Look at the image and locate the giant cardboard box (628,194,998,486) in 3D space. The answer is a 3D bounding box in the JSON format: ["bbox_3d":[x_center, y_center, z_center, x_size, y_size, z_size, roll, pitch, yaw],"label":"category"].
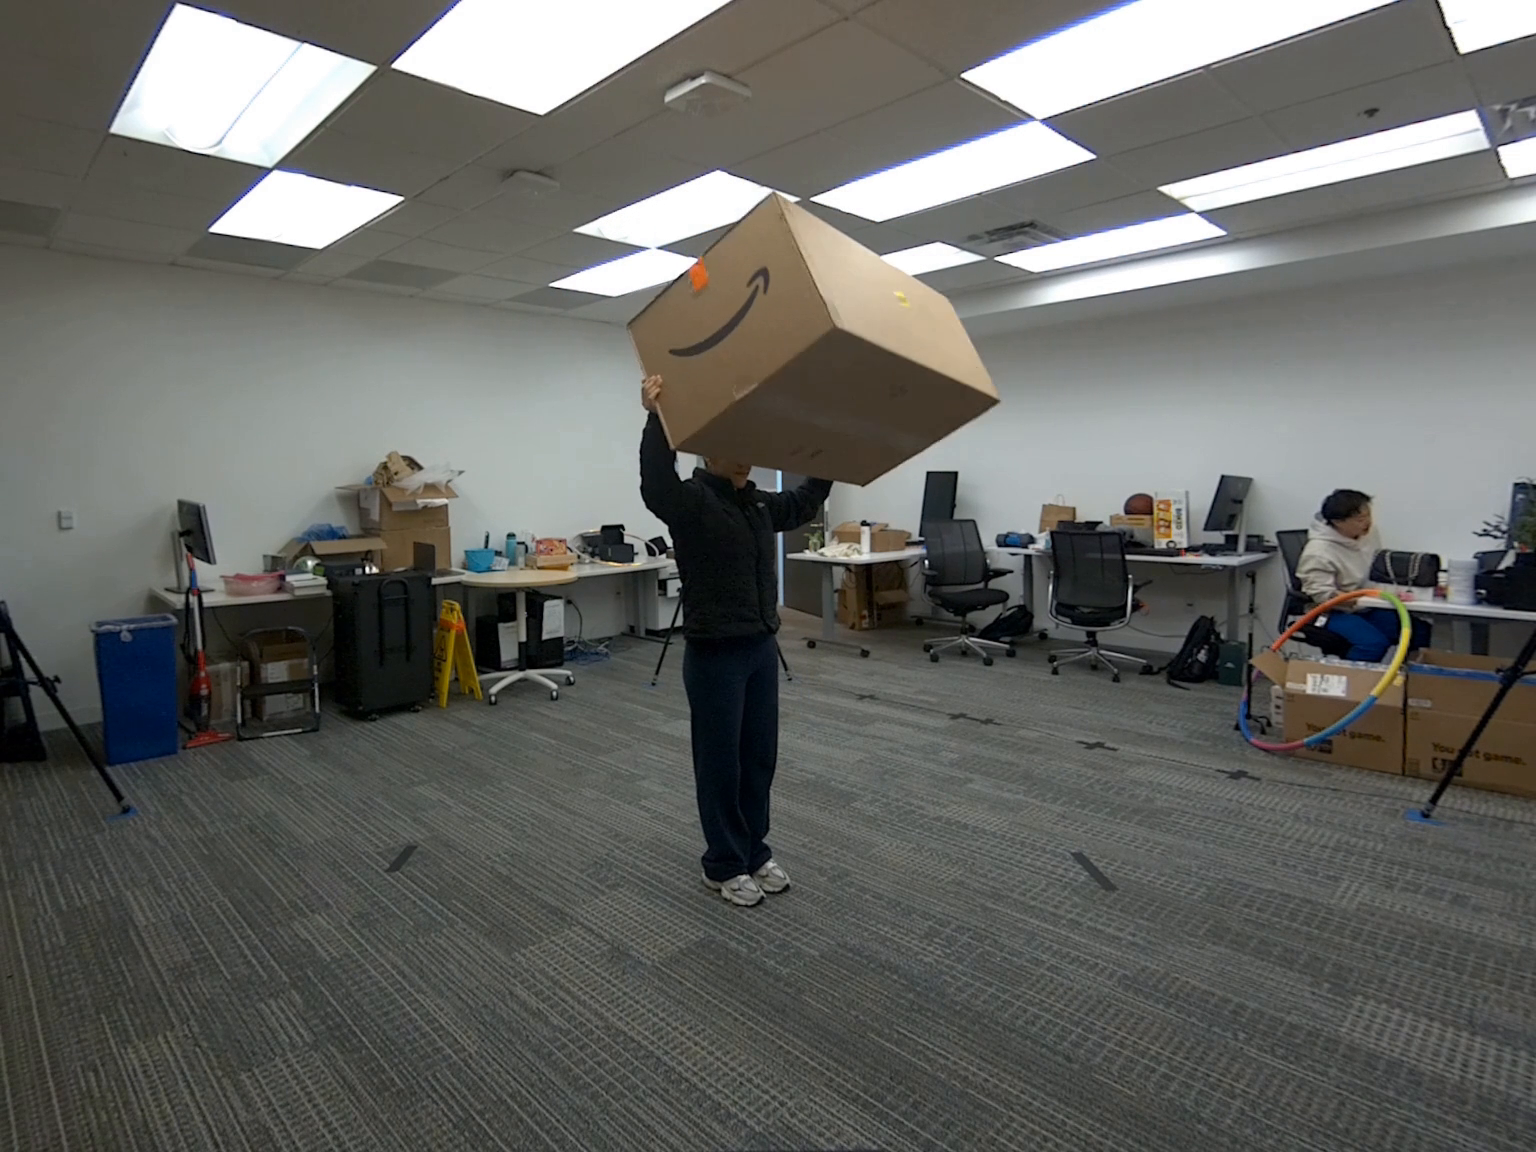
[{"bbox_3d":[0.179,-0.622,2.611,0.588,0.456,0.997,-33,-20,32],"label":"giant cardboard box"}]
